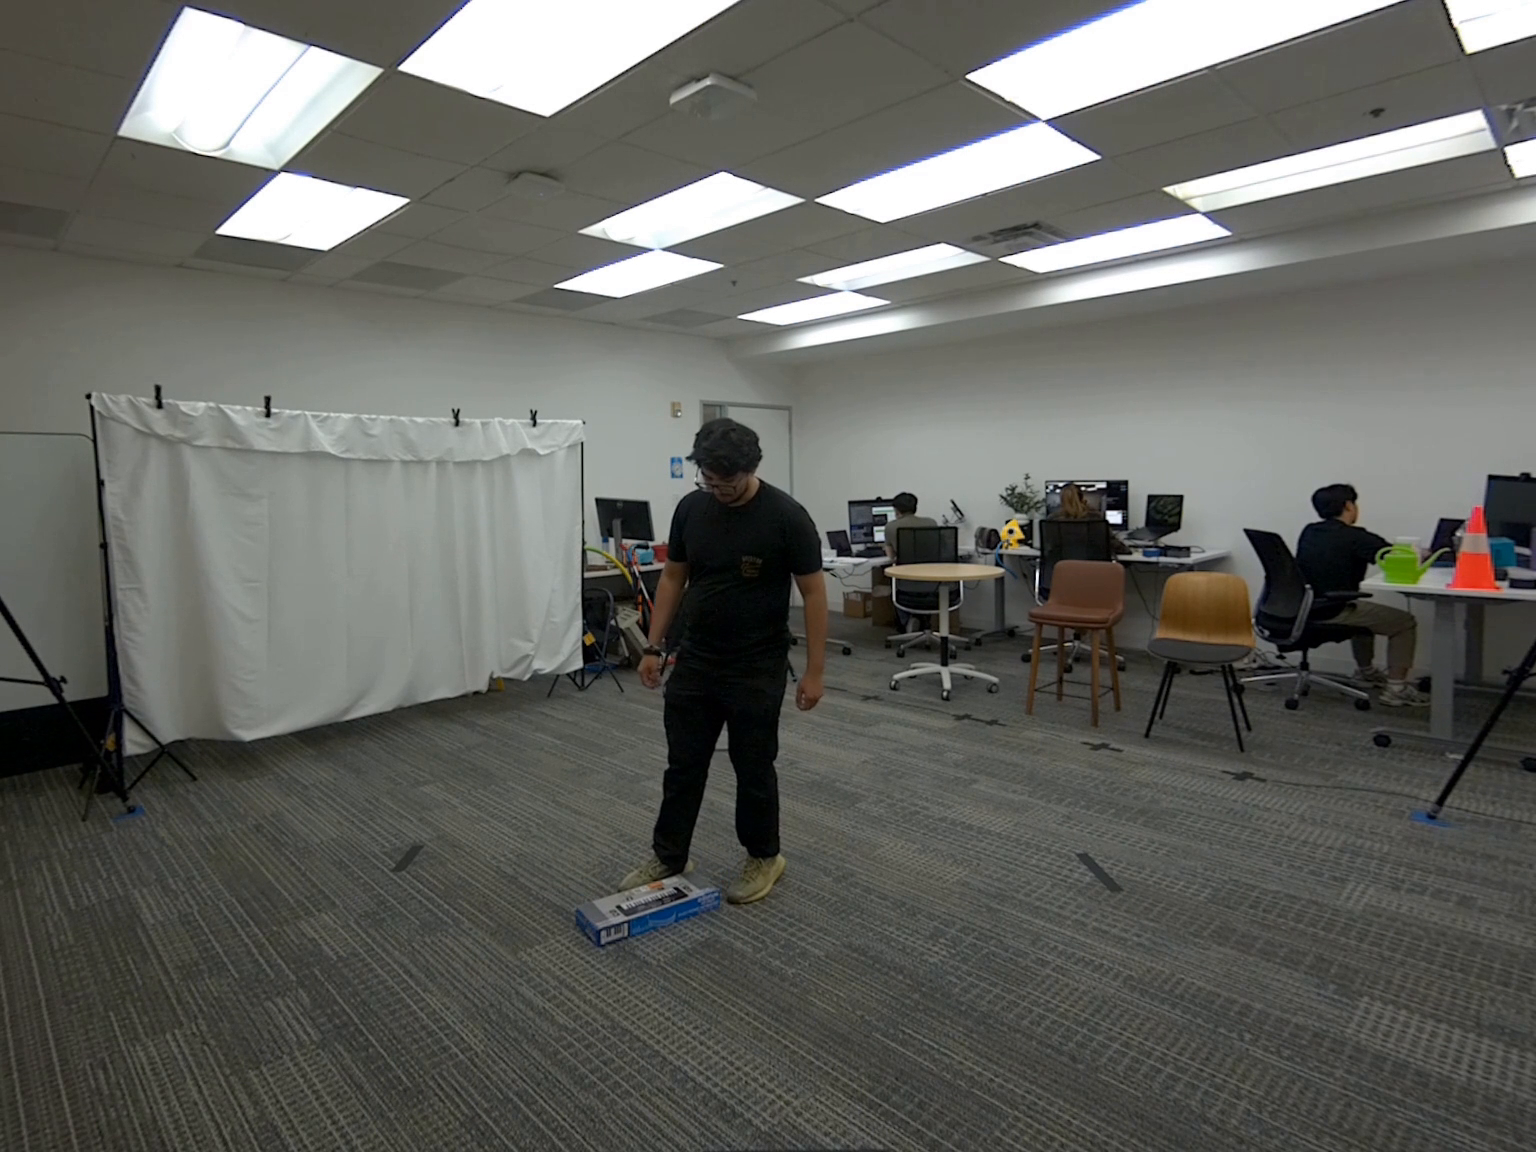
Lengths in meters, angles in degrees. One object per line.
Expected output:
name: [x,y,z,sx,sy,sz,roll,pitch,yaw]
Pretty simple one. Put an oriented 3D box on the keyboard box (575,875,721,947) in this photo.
keyboard box: [-0.378,1.063,2.754,0.426,0.059,0.181,-6,7,-33]
